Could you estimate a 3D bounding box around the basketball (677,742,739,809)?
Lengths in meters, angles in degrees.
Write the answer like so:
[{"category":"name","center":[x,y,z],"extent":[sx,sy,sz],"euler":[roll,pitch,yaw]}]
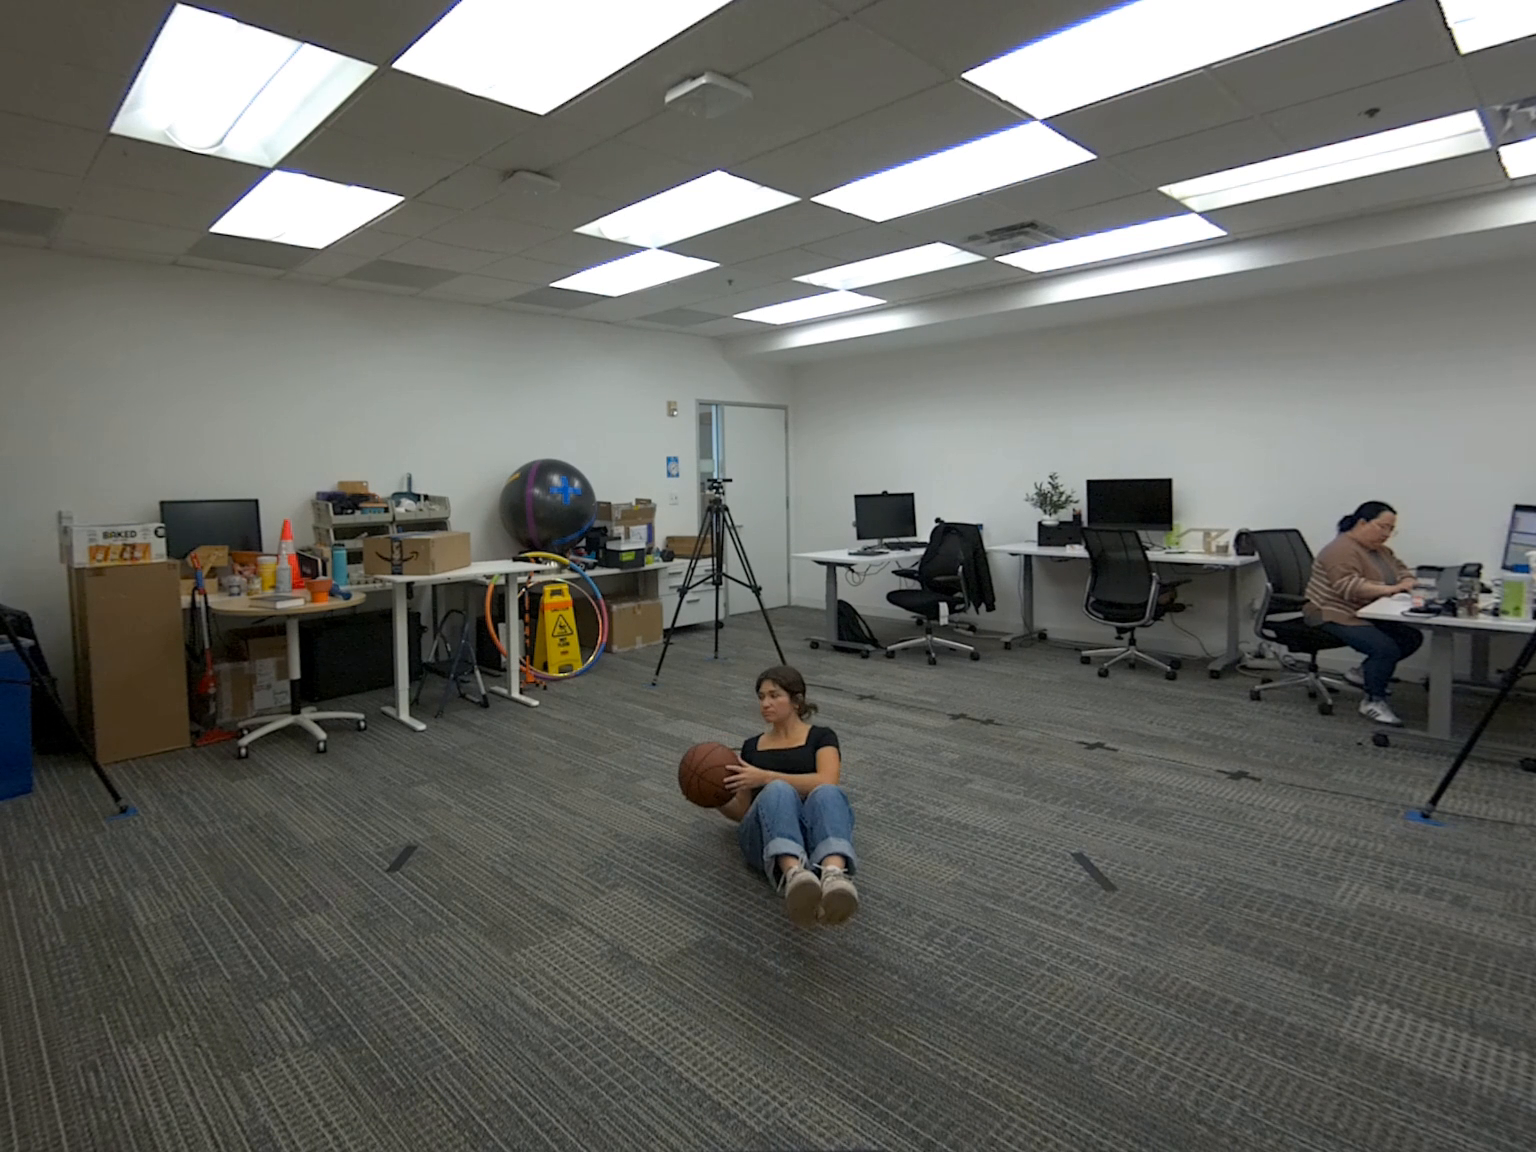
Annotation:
[{"category":"basketball","center":[-0.215,0.742,3.168],"extent":[0.236,0.235,0.237],"euler":[-1,5,-2]}]
